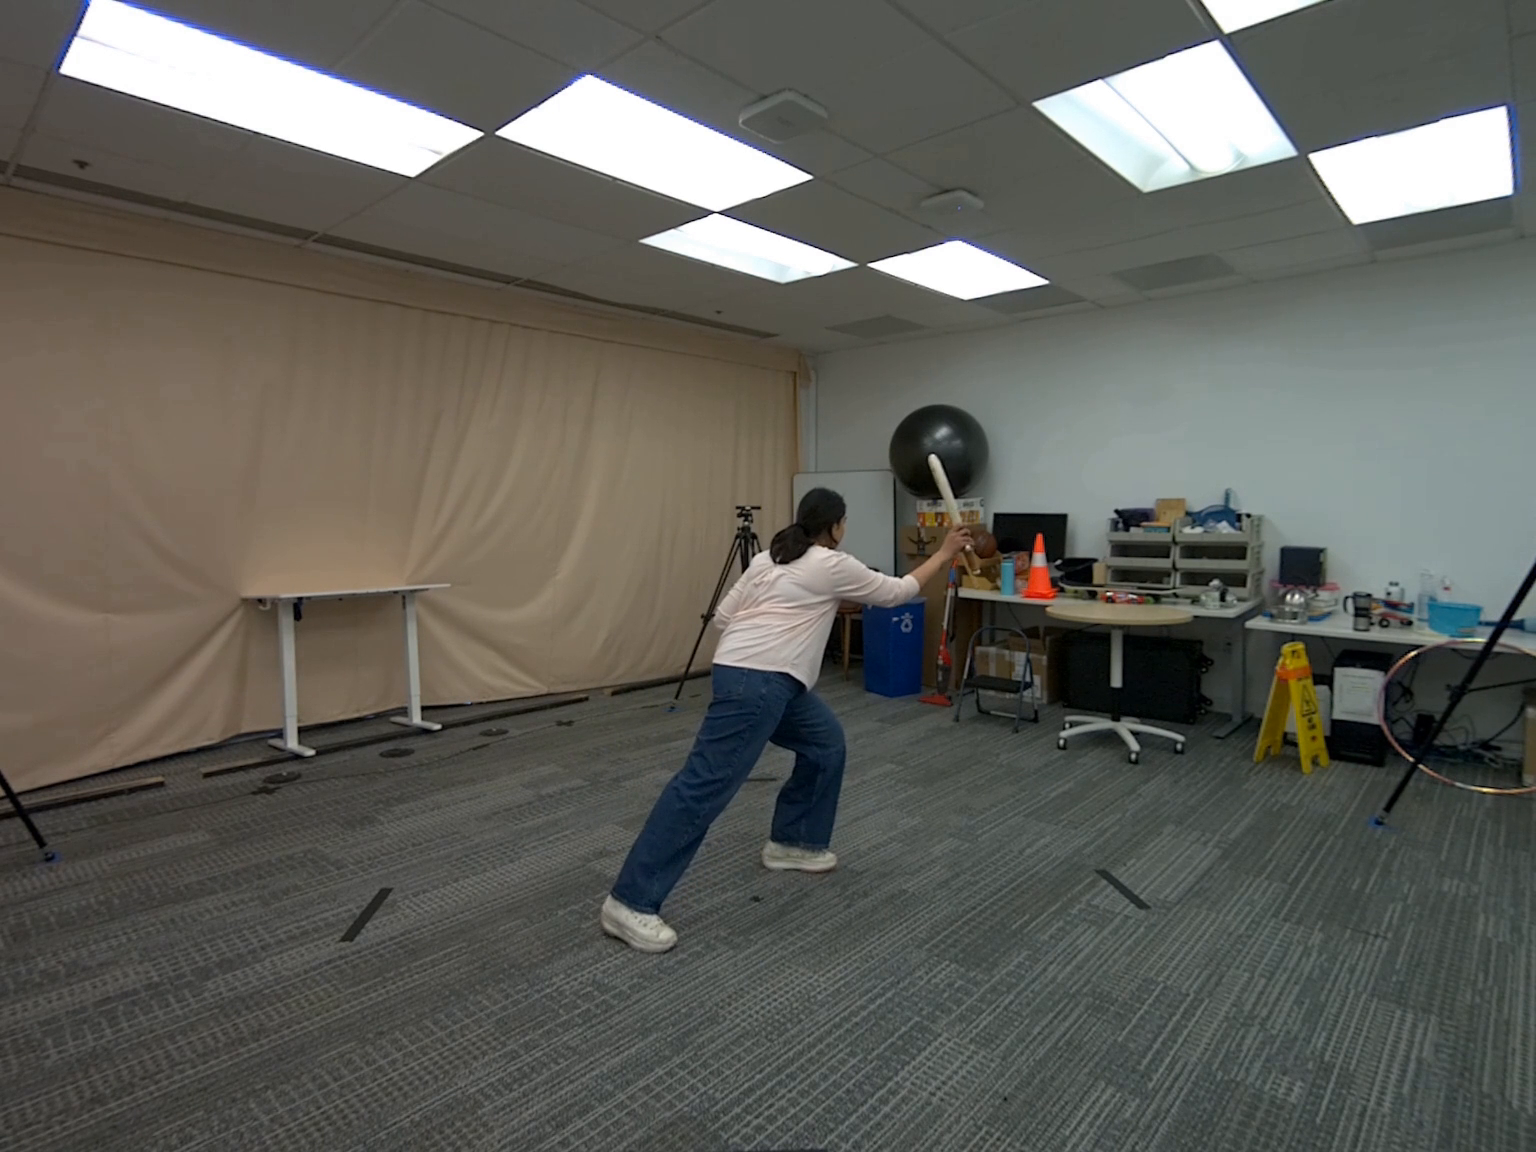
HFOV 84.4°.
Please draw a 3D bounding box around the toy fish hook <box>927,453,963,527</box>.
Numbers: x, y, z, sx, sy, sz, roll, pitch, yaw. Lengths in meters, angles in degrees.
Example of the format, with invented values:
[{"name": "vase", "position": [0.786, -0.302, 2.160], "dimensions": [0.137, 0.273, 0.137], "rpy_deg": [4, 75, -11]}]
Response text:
[{"name": "toy fish hook", "position": [0.744, -0.245, 3.343], "dimensions": [0.049, 0.509, 0.221], "rpy_deg": [-19, -5, 13]}]
